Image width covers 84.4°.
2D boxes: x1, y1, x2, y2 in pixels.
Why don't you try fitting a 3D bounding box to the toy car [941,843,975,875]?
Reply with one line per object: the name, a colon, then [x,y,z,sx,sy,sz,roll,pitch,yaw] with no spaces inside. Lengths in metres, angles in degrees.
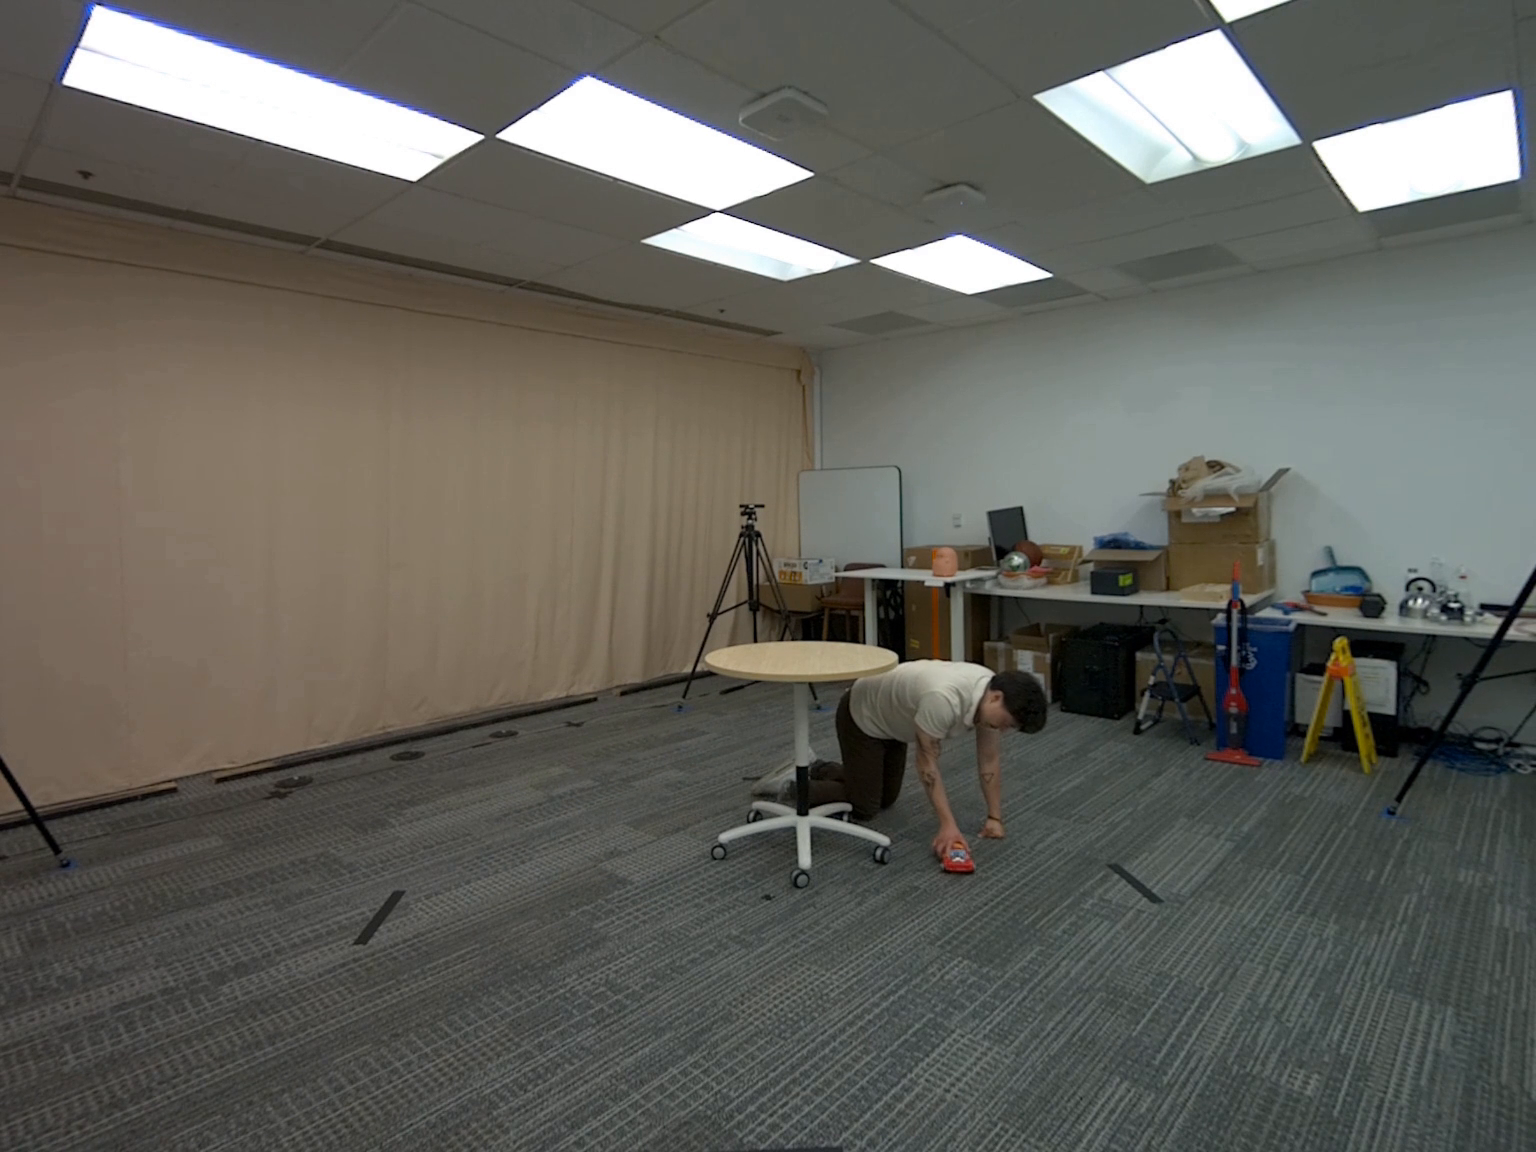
toy car: [0.712,1.068,3.268,0.131,0.082,0.255,-2,18,6]
